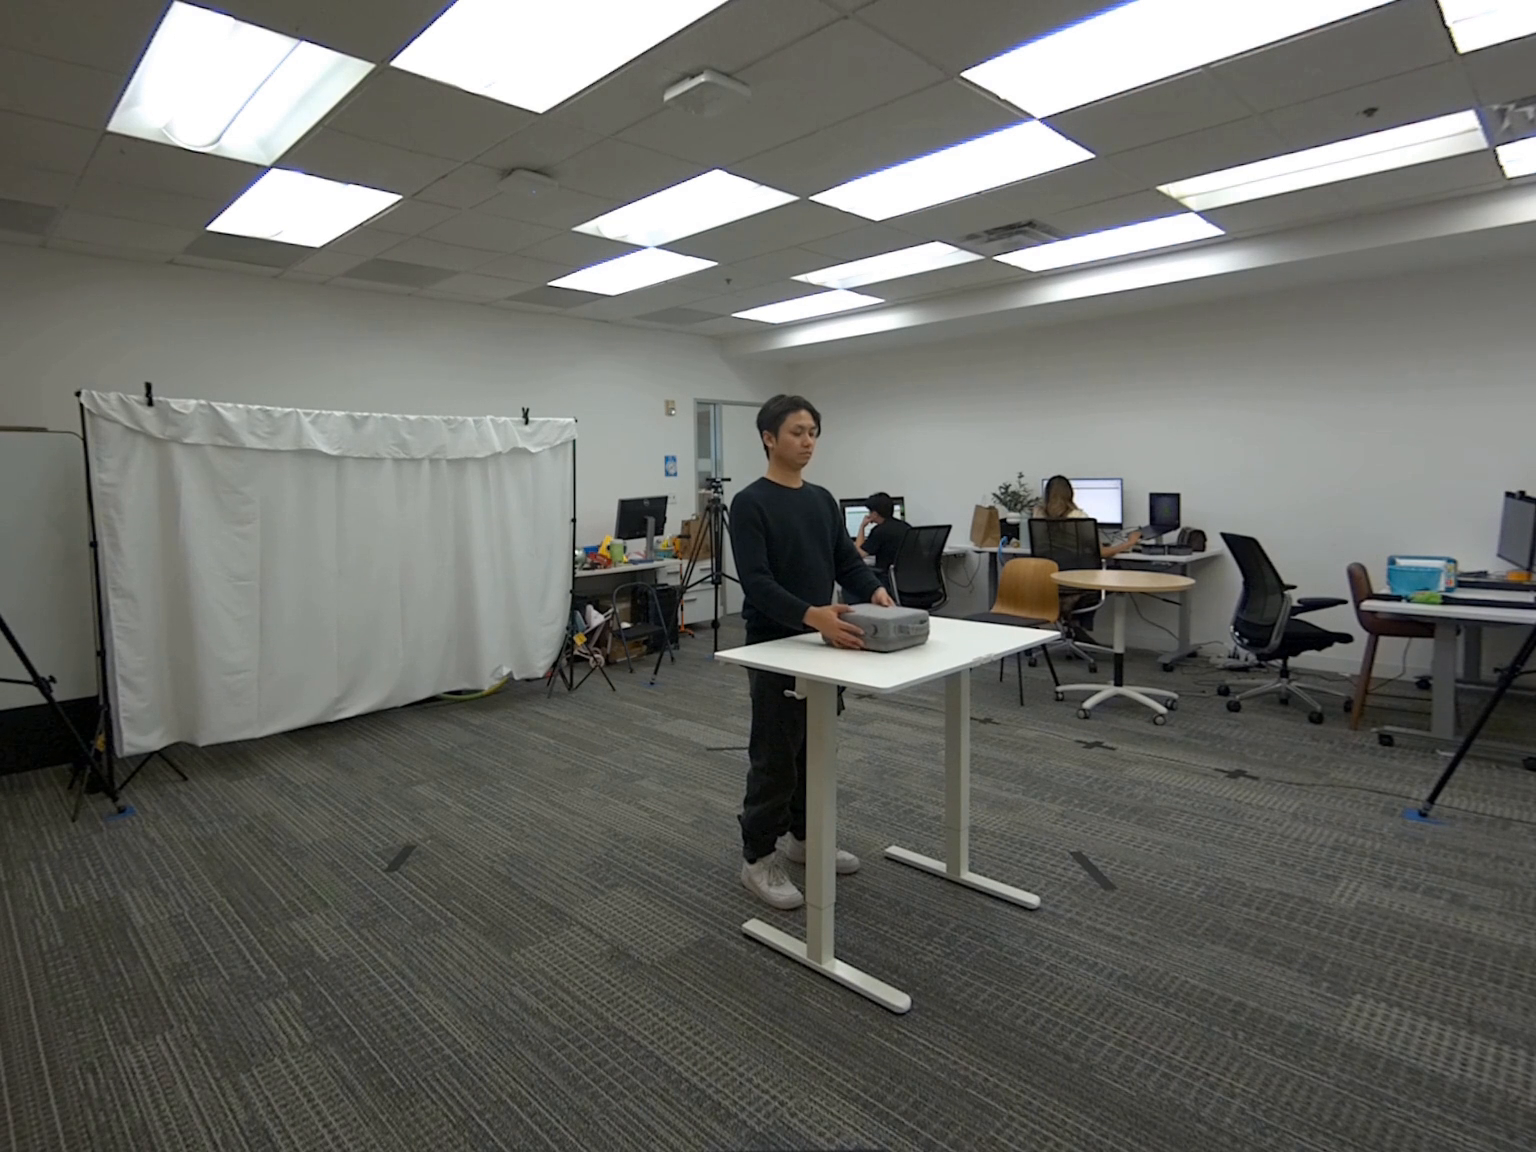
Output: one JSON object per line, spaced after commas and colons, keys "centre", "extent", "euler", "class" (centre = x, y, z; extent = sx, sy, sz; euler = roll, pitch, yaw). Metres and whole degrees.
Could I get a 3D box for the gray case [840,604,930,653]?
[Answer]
{"centre": [0.335, 0.154, 2.613], "extent": [0.268, 0.104, 0.250], "euler": [5, 5, 40], "class": "gray case"}
